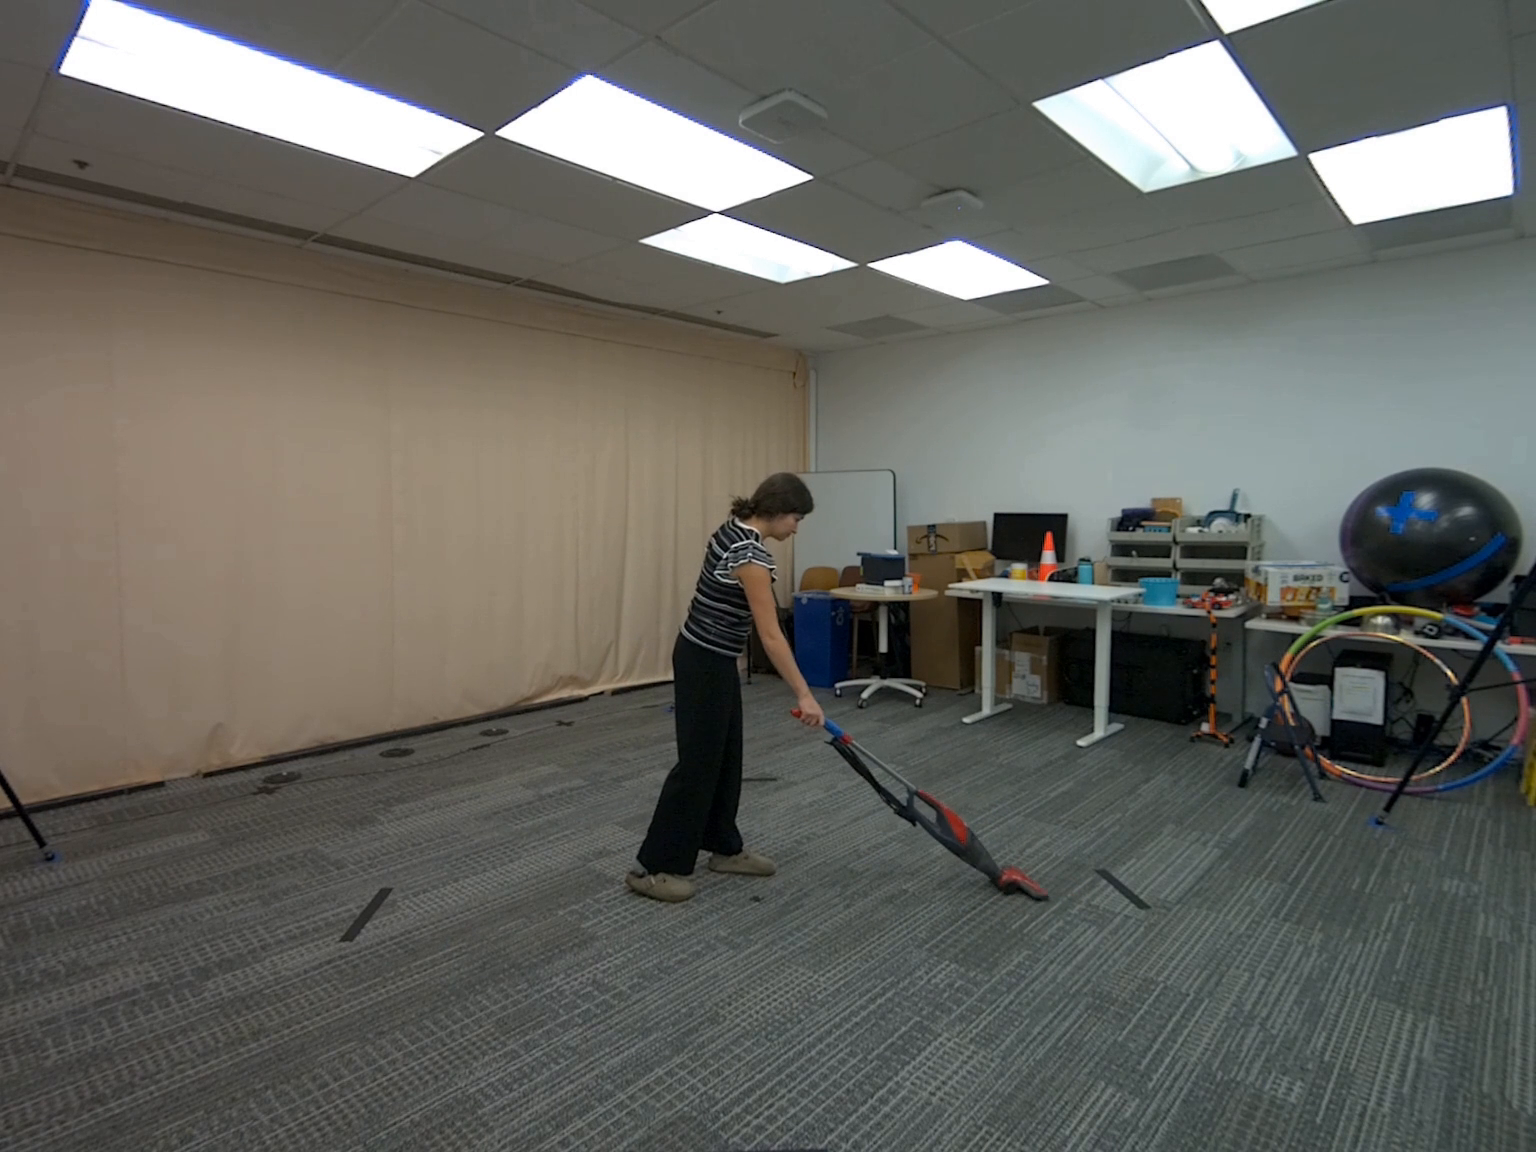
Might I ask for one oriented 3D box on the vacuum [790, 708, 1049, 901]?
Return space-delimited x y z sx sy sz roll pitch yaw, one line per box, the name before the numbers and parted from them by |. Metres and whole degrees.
vacuum | 0.495 0.799 3.003 1.039 0.144 0.255 38 -6 -8
